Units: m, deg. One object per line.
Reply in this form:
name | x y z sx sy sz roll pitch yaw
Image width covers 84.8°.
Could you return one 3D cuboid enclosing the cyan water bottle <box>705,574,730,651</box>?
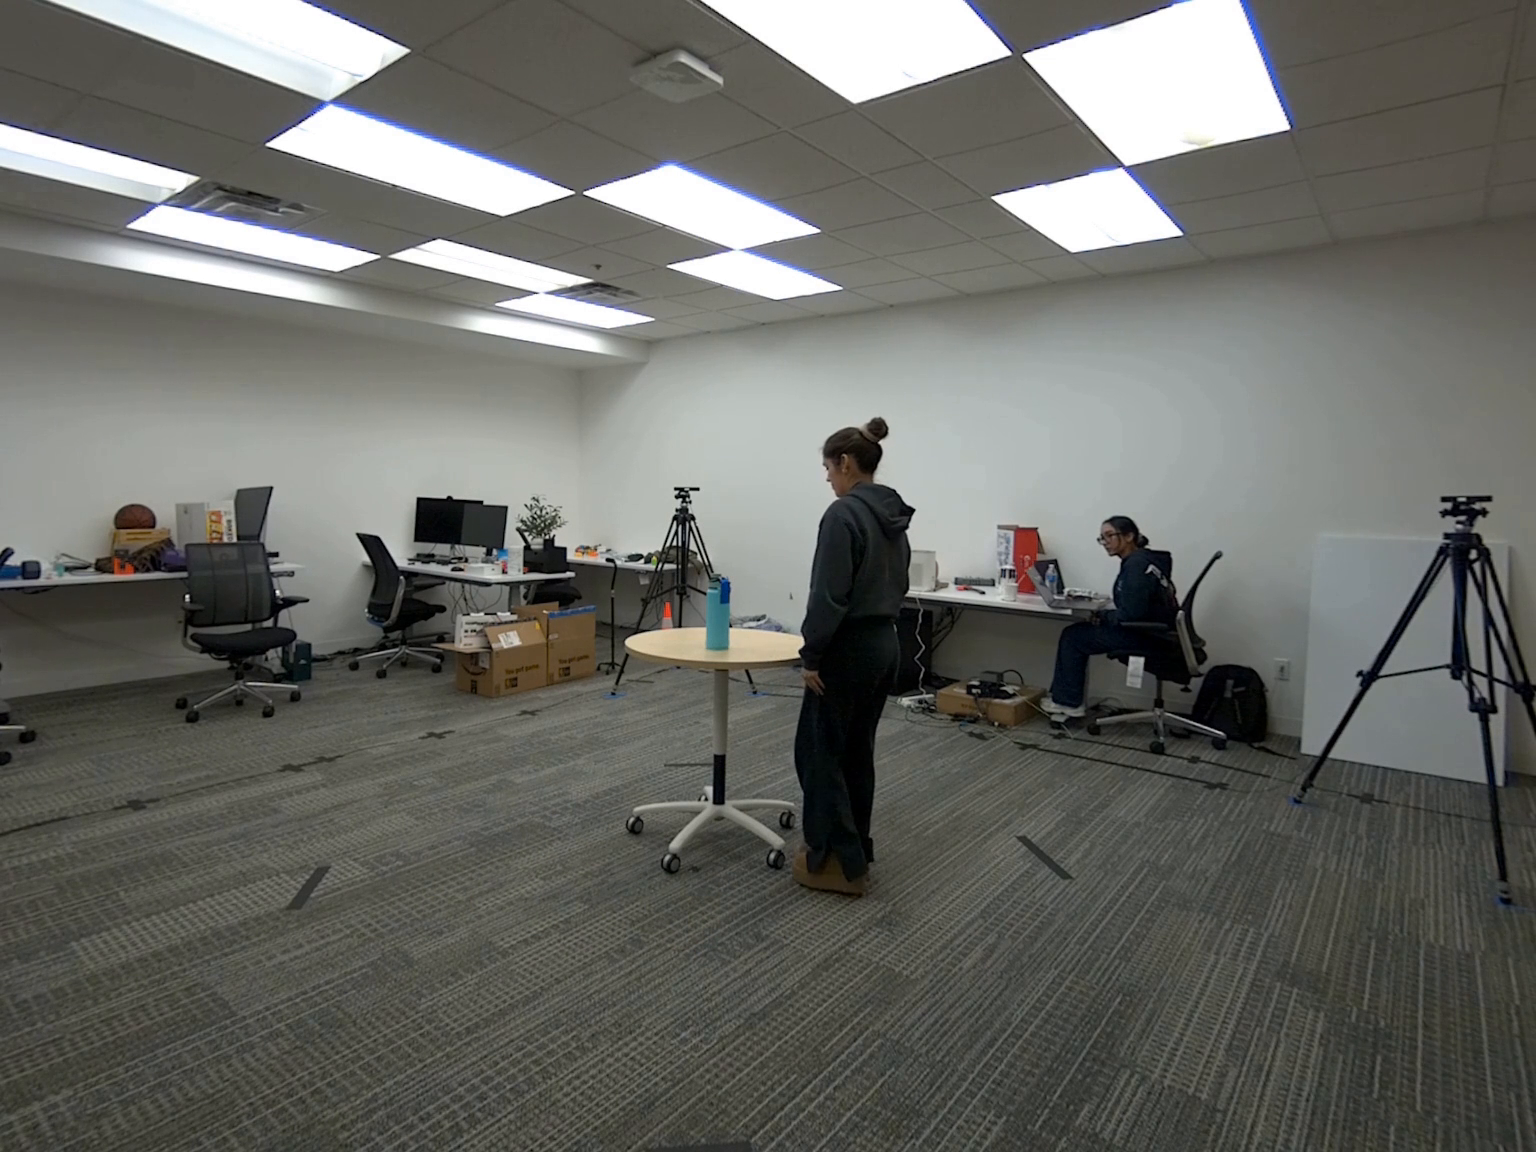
cyan water bottle | -0.196 0.135 3.230 0.092 0.282 0.093 0 5 -2
